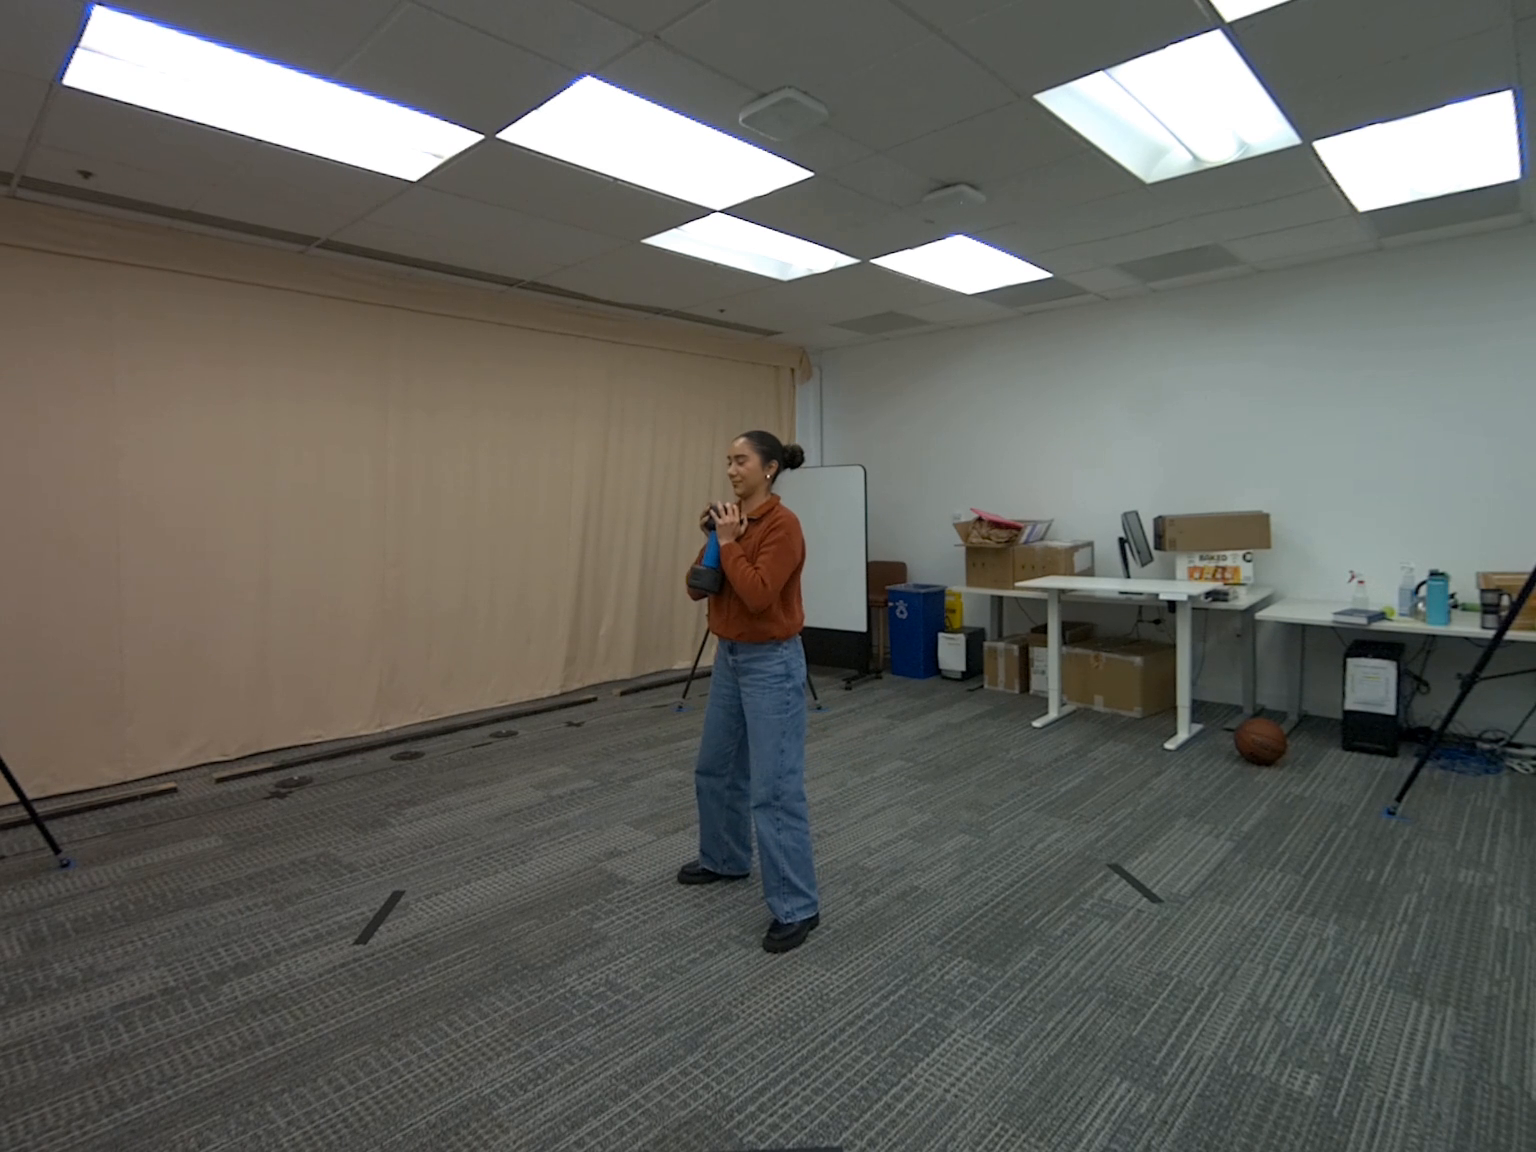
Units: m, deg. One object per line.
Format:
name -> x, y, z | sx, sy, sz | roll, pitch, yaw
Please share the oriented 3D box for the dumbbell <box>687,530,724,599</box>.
dumbbell -> -0.177, -0.078, 2.821 | 0.127, 0.294, 0.105 | 7, -10, 39
